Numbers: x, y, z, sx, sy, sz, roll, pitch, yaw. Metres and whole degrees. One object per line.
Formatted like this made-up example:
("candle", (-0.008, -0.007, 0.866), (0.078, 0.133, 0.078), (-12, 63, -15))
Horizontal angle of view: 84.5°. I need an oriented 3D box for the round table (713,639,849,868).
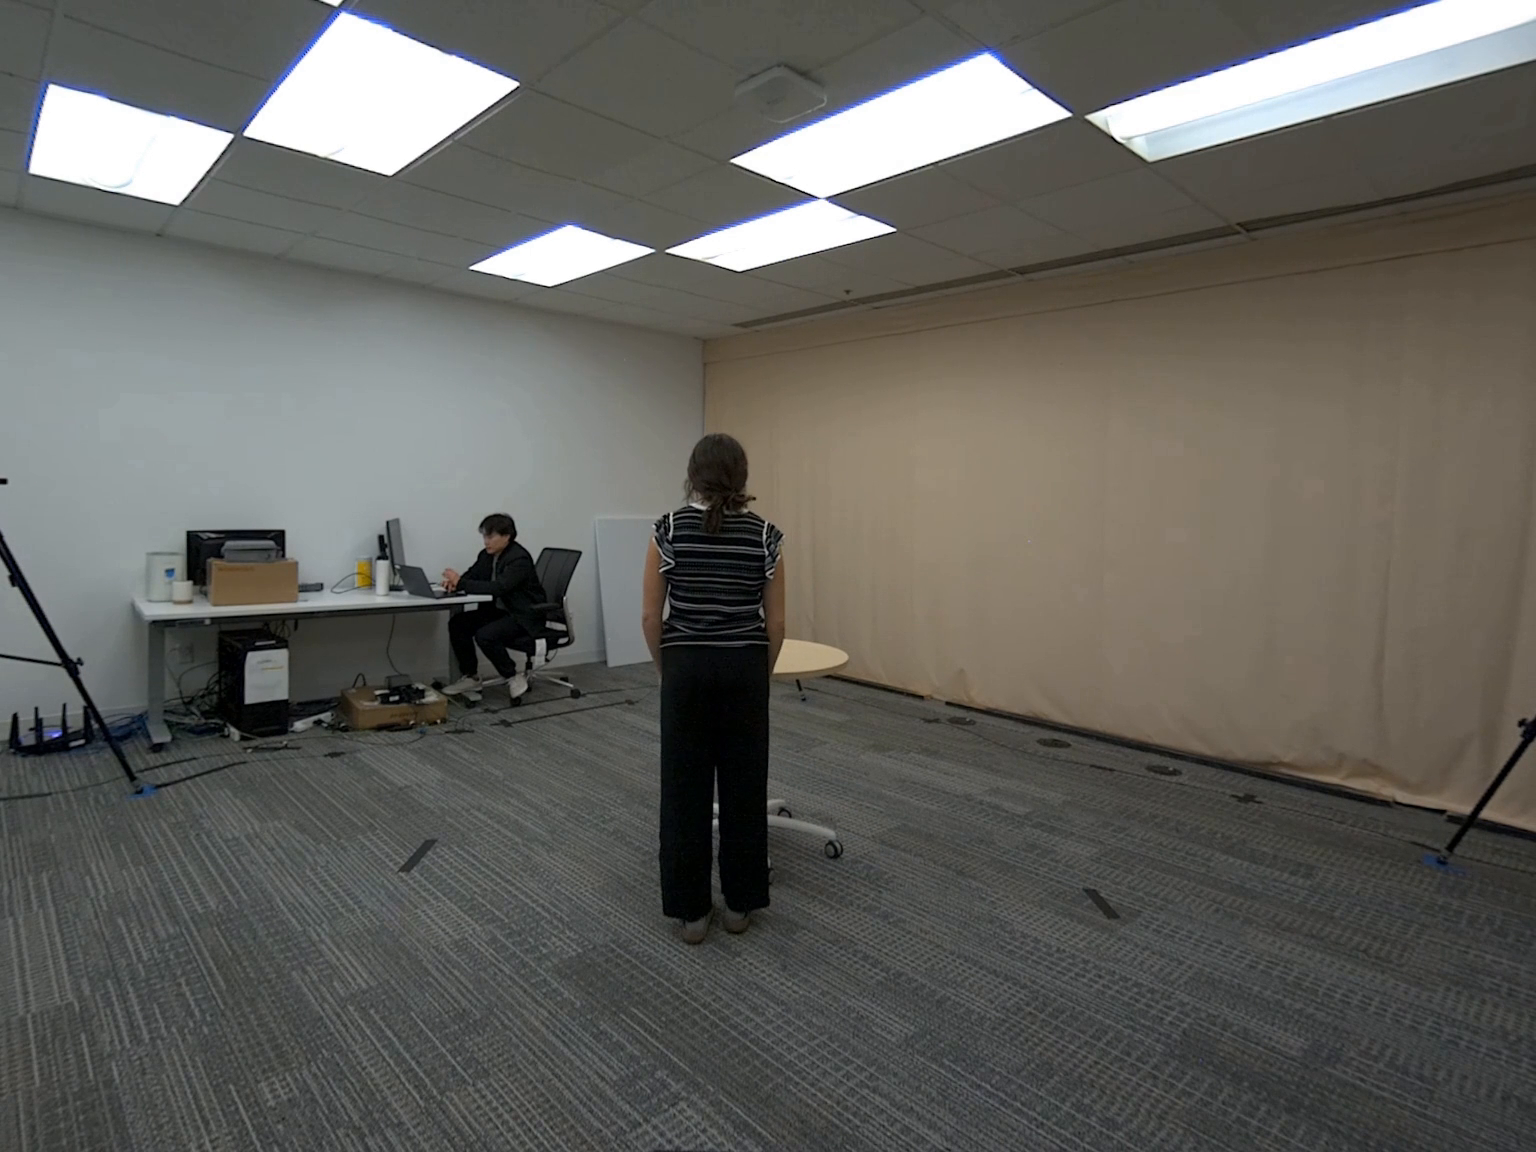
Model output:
("round table", (-0.076, 0.698, 3.330), (0.784, 0.784, 0.787), (1, 4, -1))
